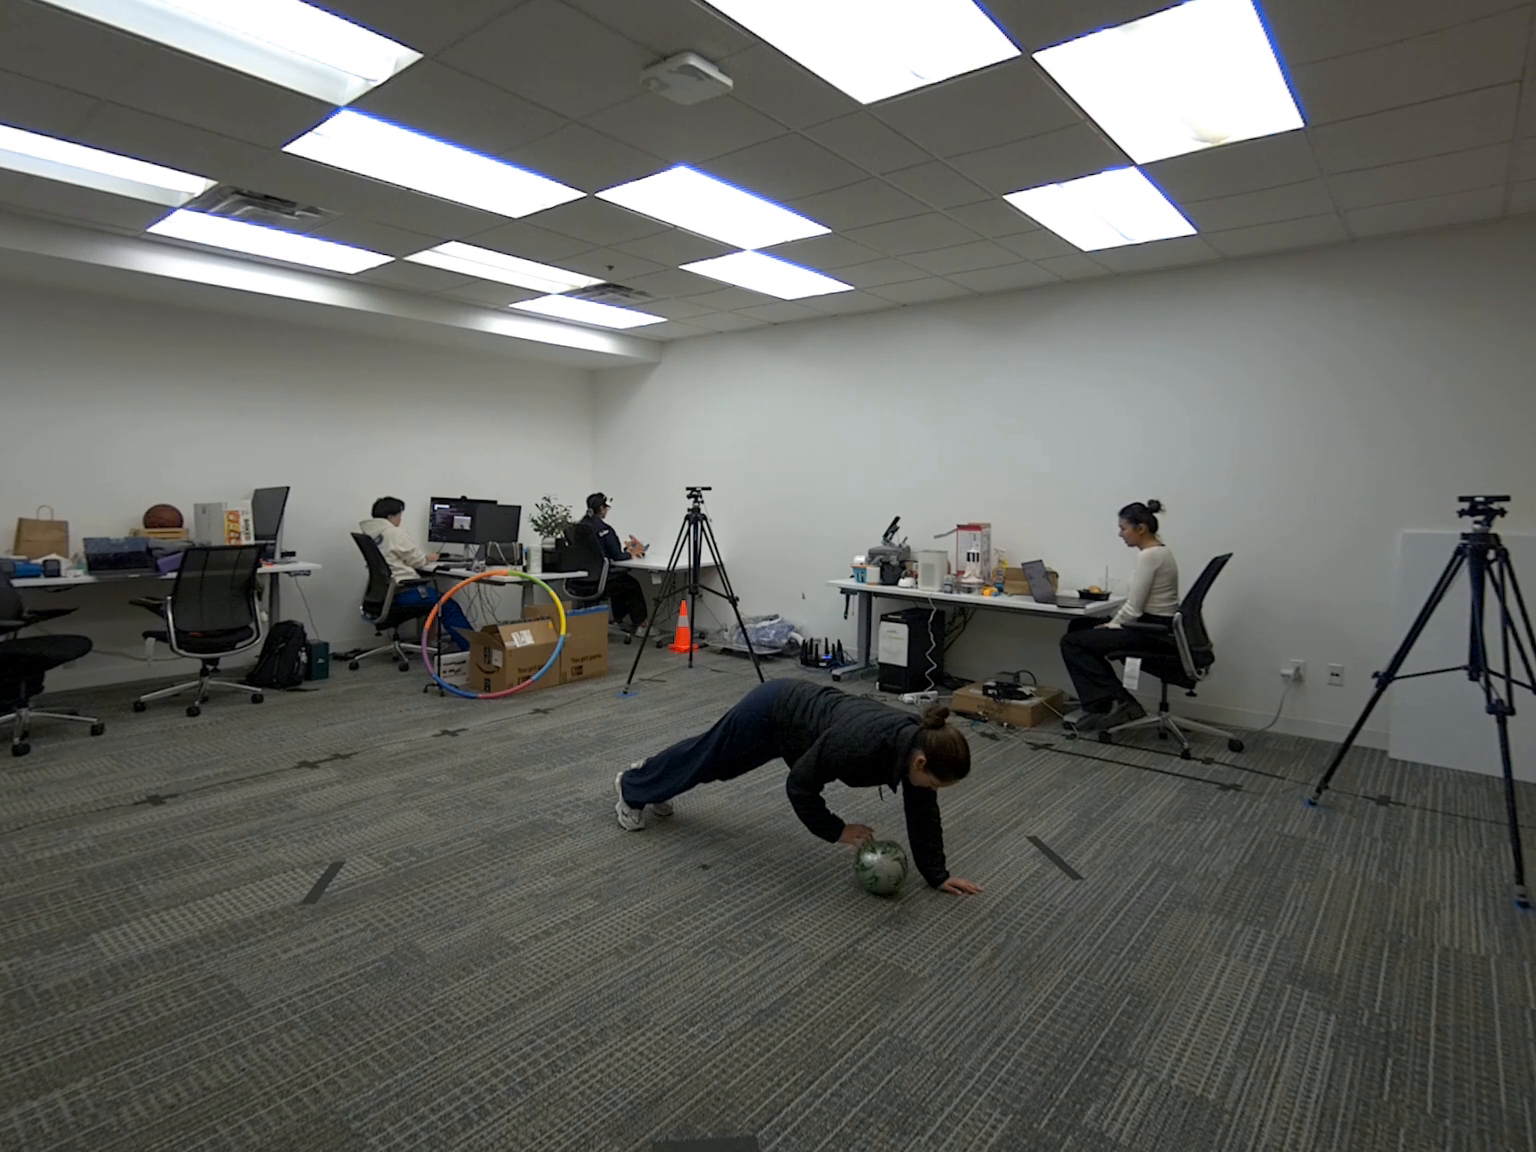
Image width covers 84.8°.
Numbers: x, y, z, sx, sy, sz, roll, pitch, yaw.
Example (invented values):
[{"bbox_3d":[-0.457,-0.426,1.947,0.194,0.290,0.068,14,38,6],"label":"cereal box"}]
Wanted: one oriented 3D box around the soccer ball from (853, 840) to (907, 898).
[{"bbox_3d":[0.401,1.009,2.952,0.187,0.187,0.188,1,4,-2],"label":"soccer ball"}]
